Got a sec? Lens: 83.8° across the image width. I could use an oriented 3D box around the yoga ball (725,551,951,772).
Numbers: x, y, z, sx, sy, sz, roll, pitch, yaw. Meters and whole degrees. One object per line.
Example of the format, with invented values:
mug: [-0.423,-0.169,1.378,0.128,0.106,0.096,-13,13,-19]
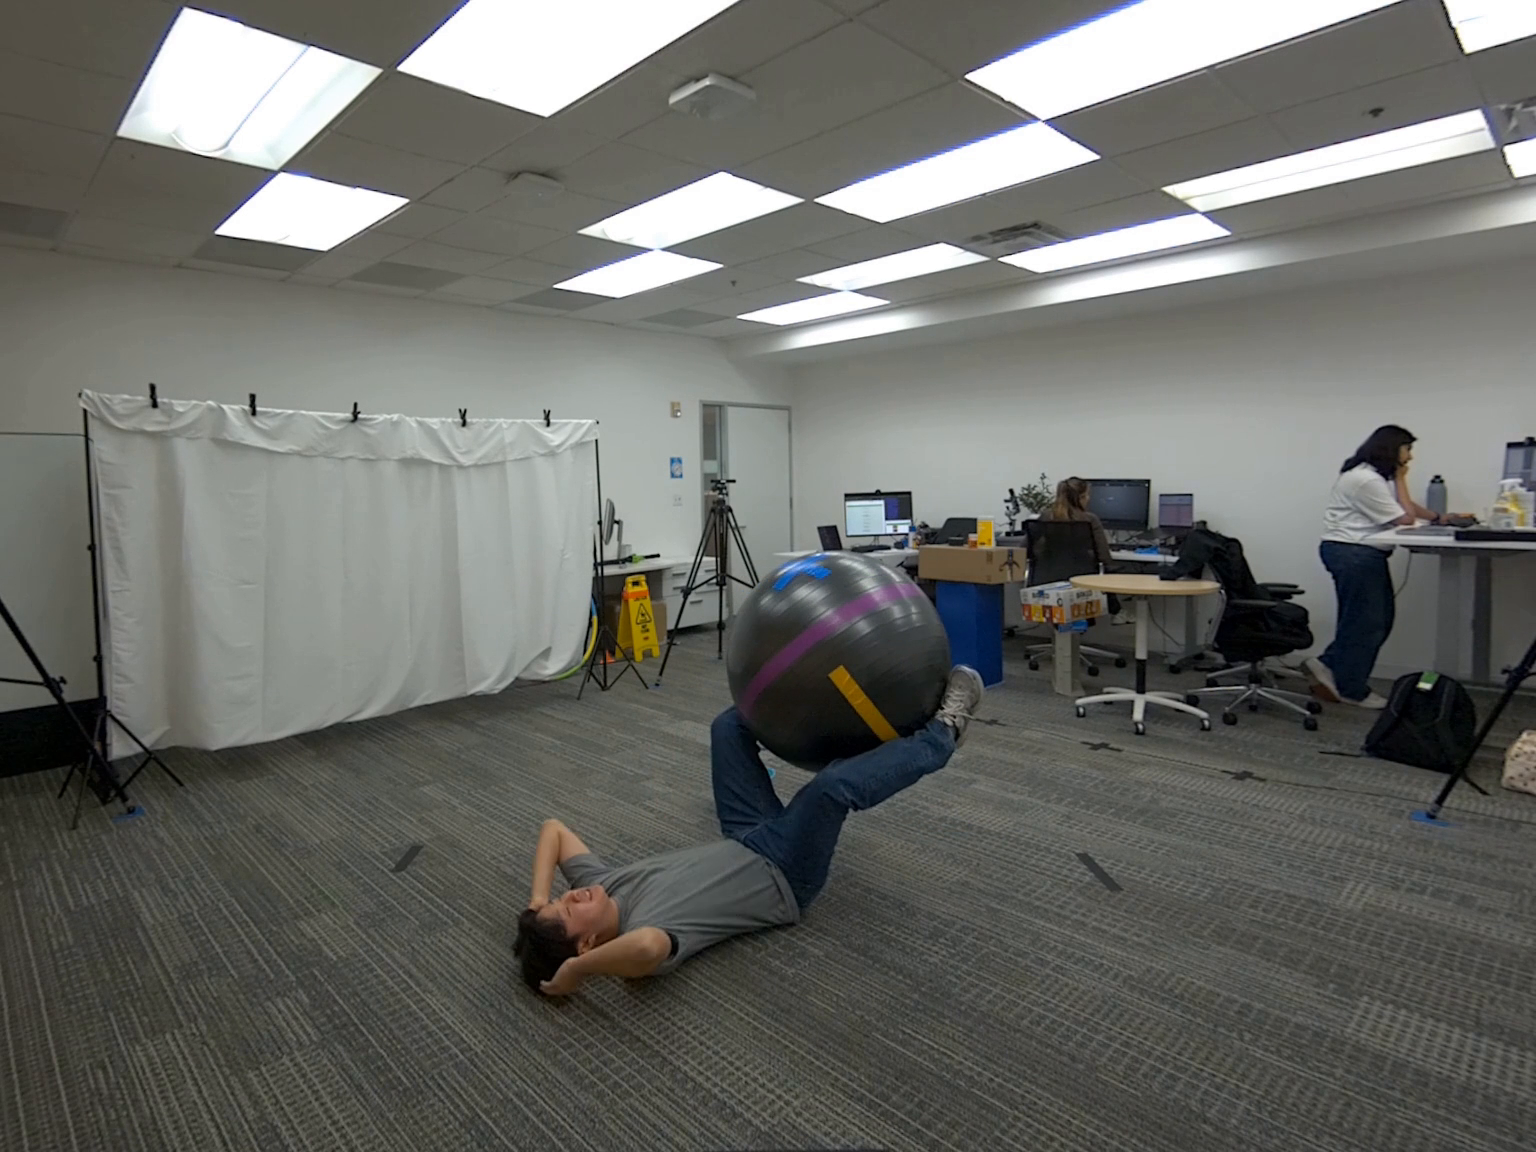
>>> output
yoga ball: [0.224,0.295,2.917,0.757,0.755,0.762,-1,5,-2]
